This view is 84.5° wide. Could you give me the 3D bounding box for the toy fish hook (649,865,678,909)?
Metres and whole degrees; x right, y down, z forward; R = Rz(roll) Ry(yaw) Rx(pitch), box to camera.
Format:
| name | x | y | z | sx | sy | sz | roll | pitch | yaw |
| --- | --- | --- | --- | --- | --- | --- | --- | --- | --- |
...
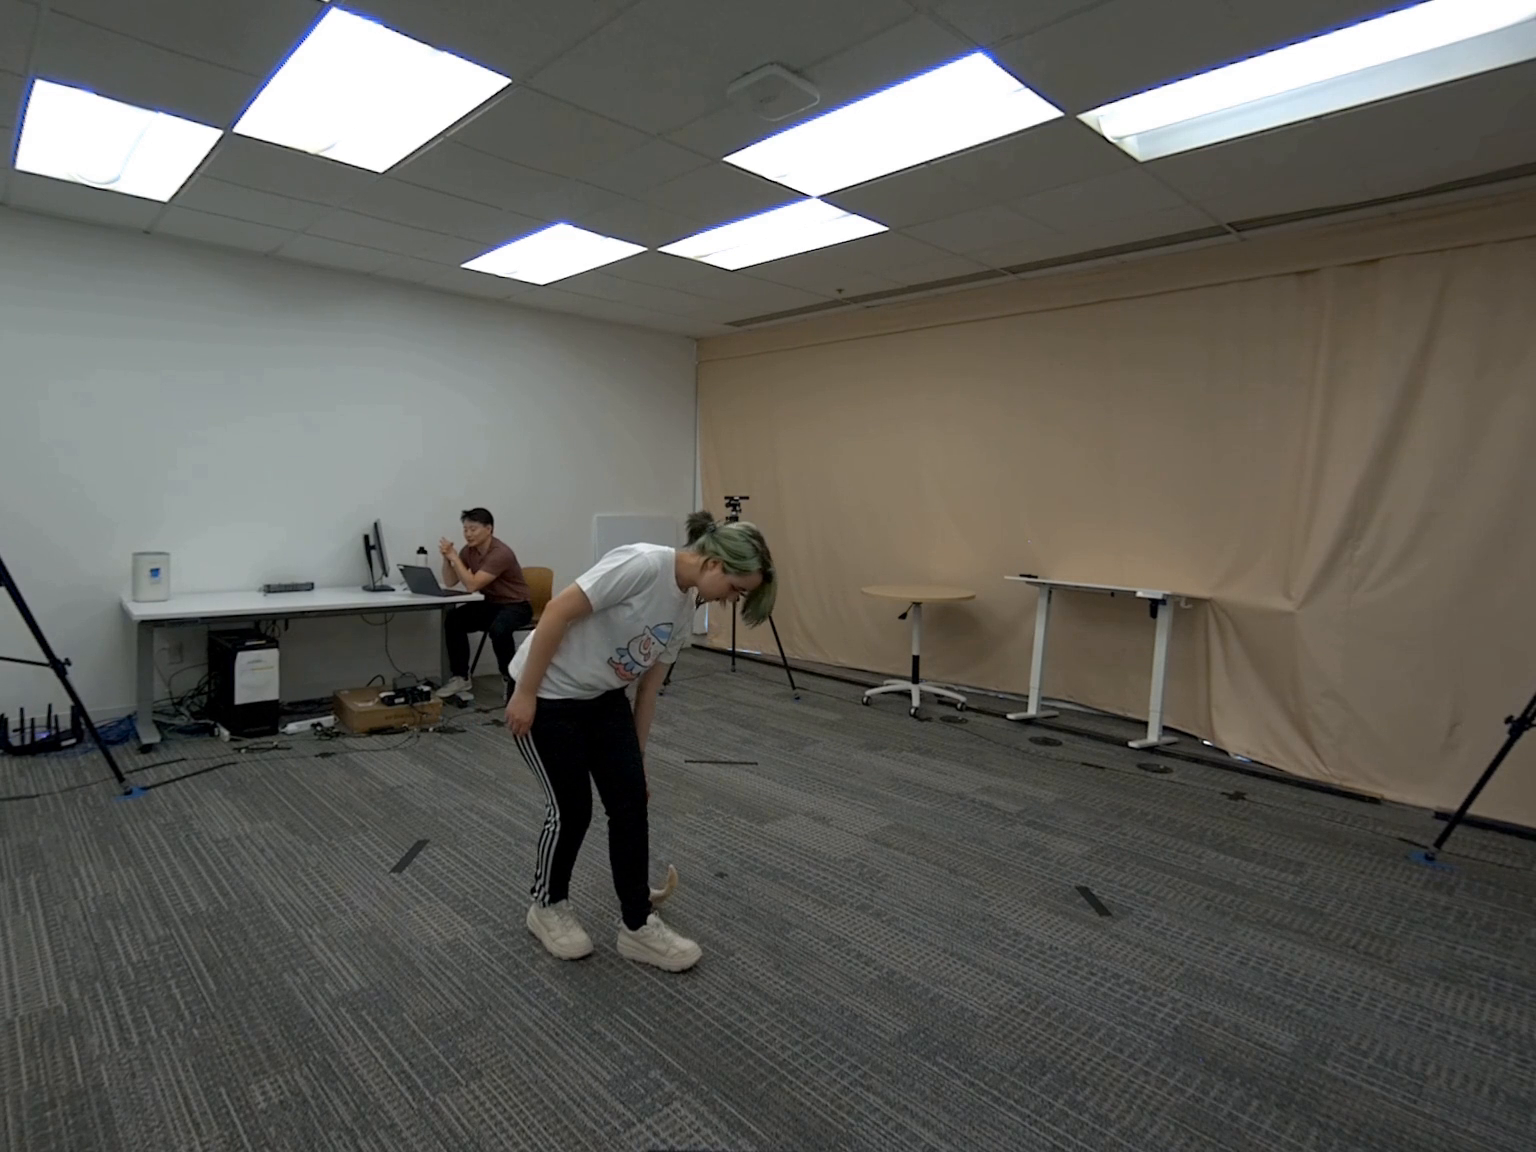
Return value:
| name | x | y | z | sx | sy | sz | roll | pitch | yaw |
| --- | --- | --- | --- | --- | --- | --- | --- | --- | --- |
| toy fish hook | -0.392 | 0.891 | 2.759 | 0.228 | 0.499 | 0.048 | 17 | 28 | 17 |
